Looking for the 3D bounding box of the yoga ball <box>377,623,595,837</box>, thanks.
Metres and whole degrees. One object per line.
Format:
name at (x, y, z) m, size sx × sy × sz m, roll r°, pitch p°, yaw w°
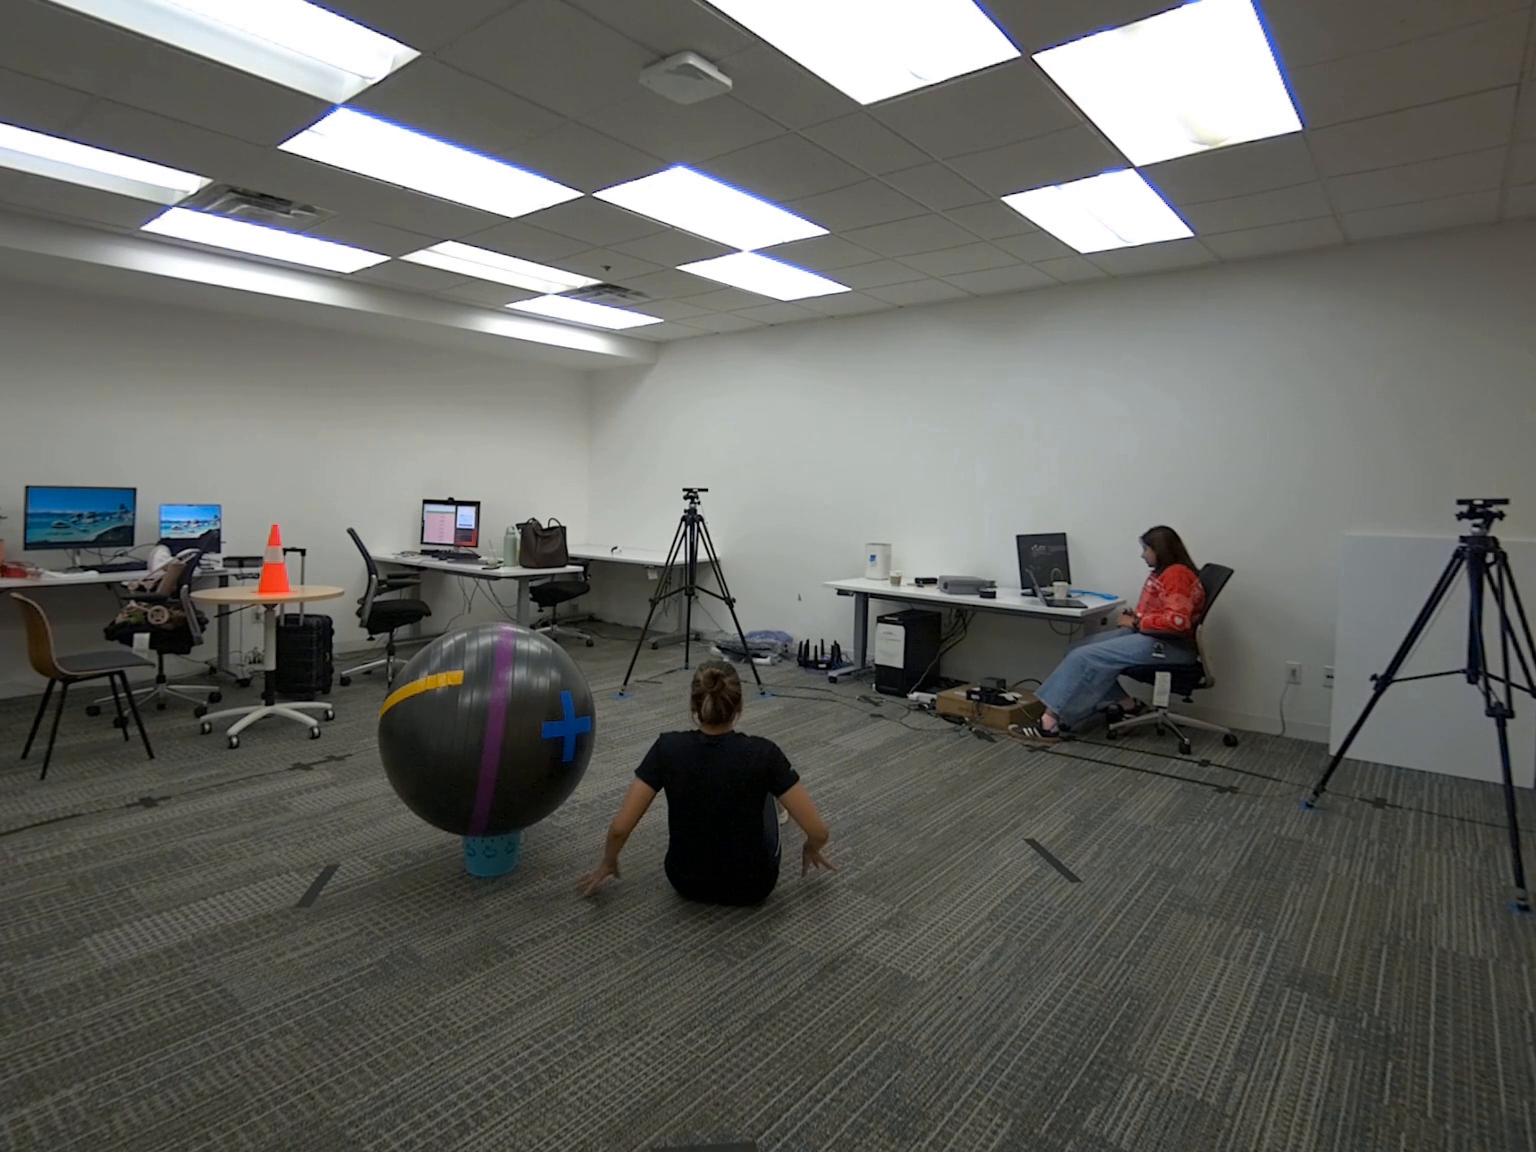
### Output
yoga ball at (-1.020, 0.552, 3.080) m, size 0.757 × 0.756 × 0.762 m, roll 1°, pitch 4°, yaw -2°
